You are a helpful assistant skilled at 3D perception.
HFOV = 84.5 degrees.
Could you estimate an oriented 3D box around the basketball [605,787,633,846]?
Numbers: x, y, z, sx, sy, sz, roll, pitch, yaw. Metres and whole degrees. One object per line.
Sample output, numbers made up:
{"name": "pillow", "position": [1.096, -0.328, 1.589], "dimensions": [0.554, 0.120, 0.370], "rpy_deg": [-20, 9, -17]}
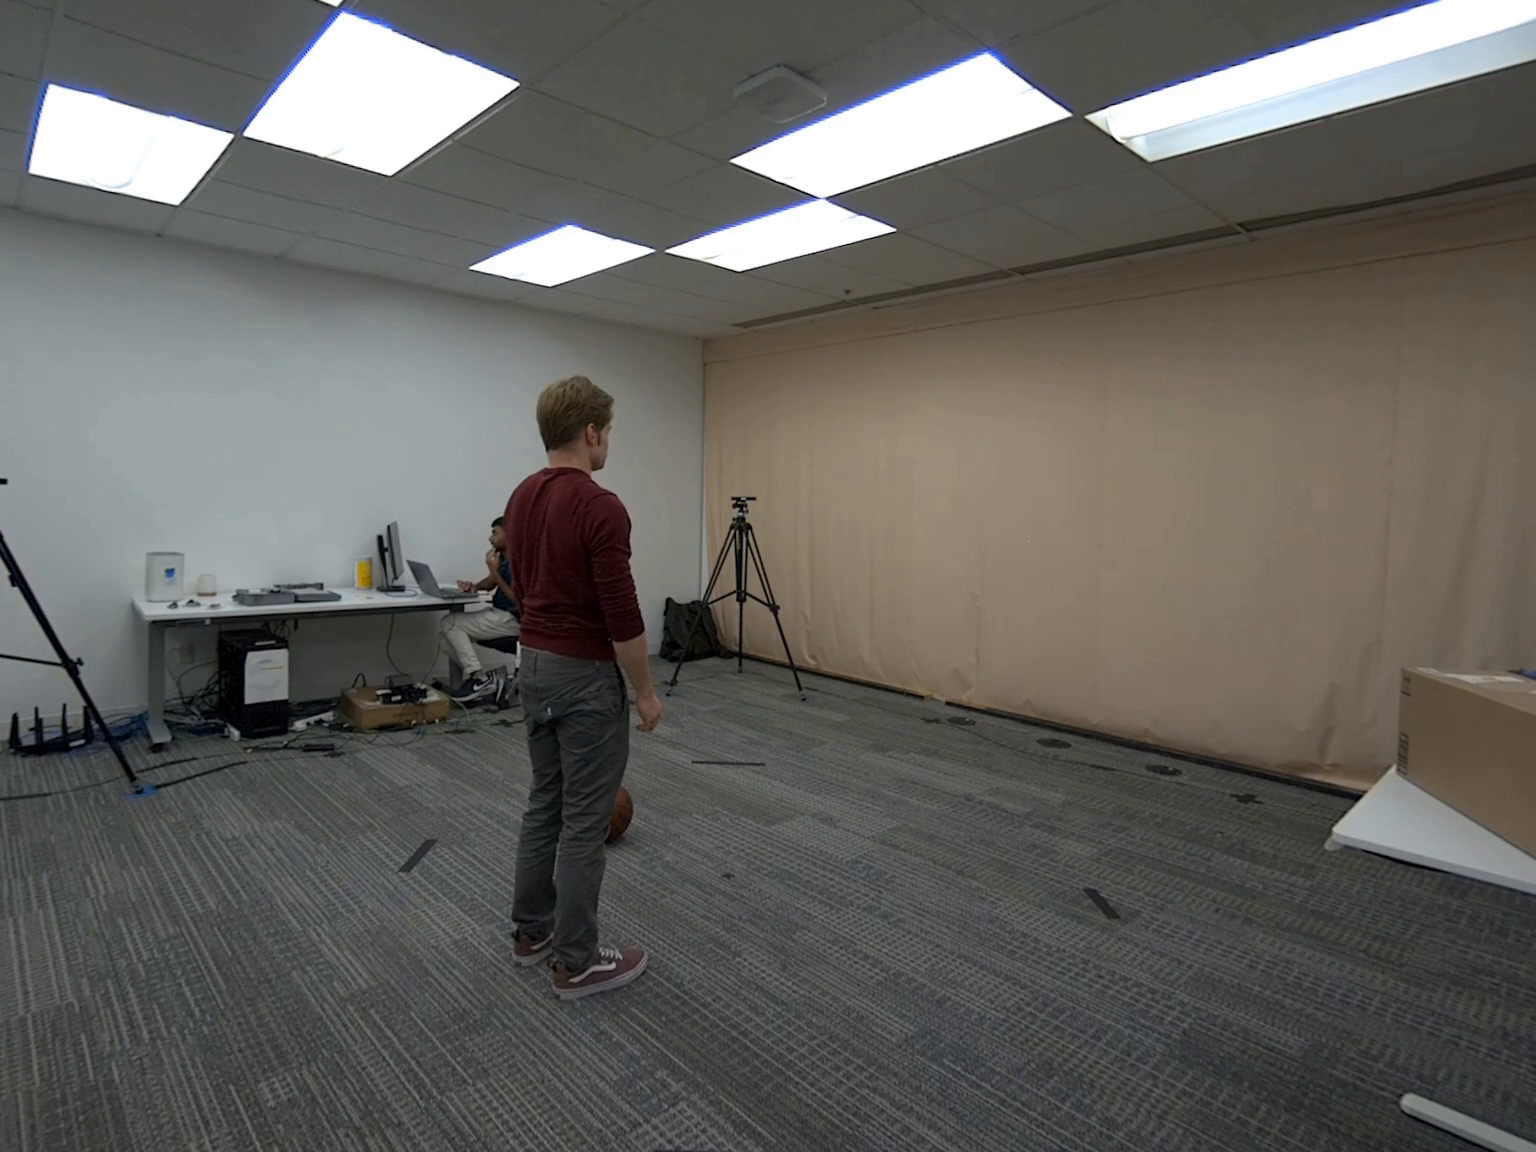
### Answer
{"name": "basketball", "position": [-0.674, 0.949, 3.403], "dimensions": [0.236, 0.235, 0.237], "rpy_deg": [1, 4, -1]}
